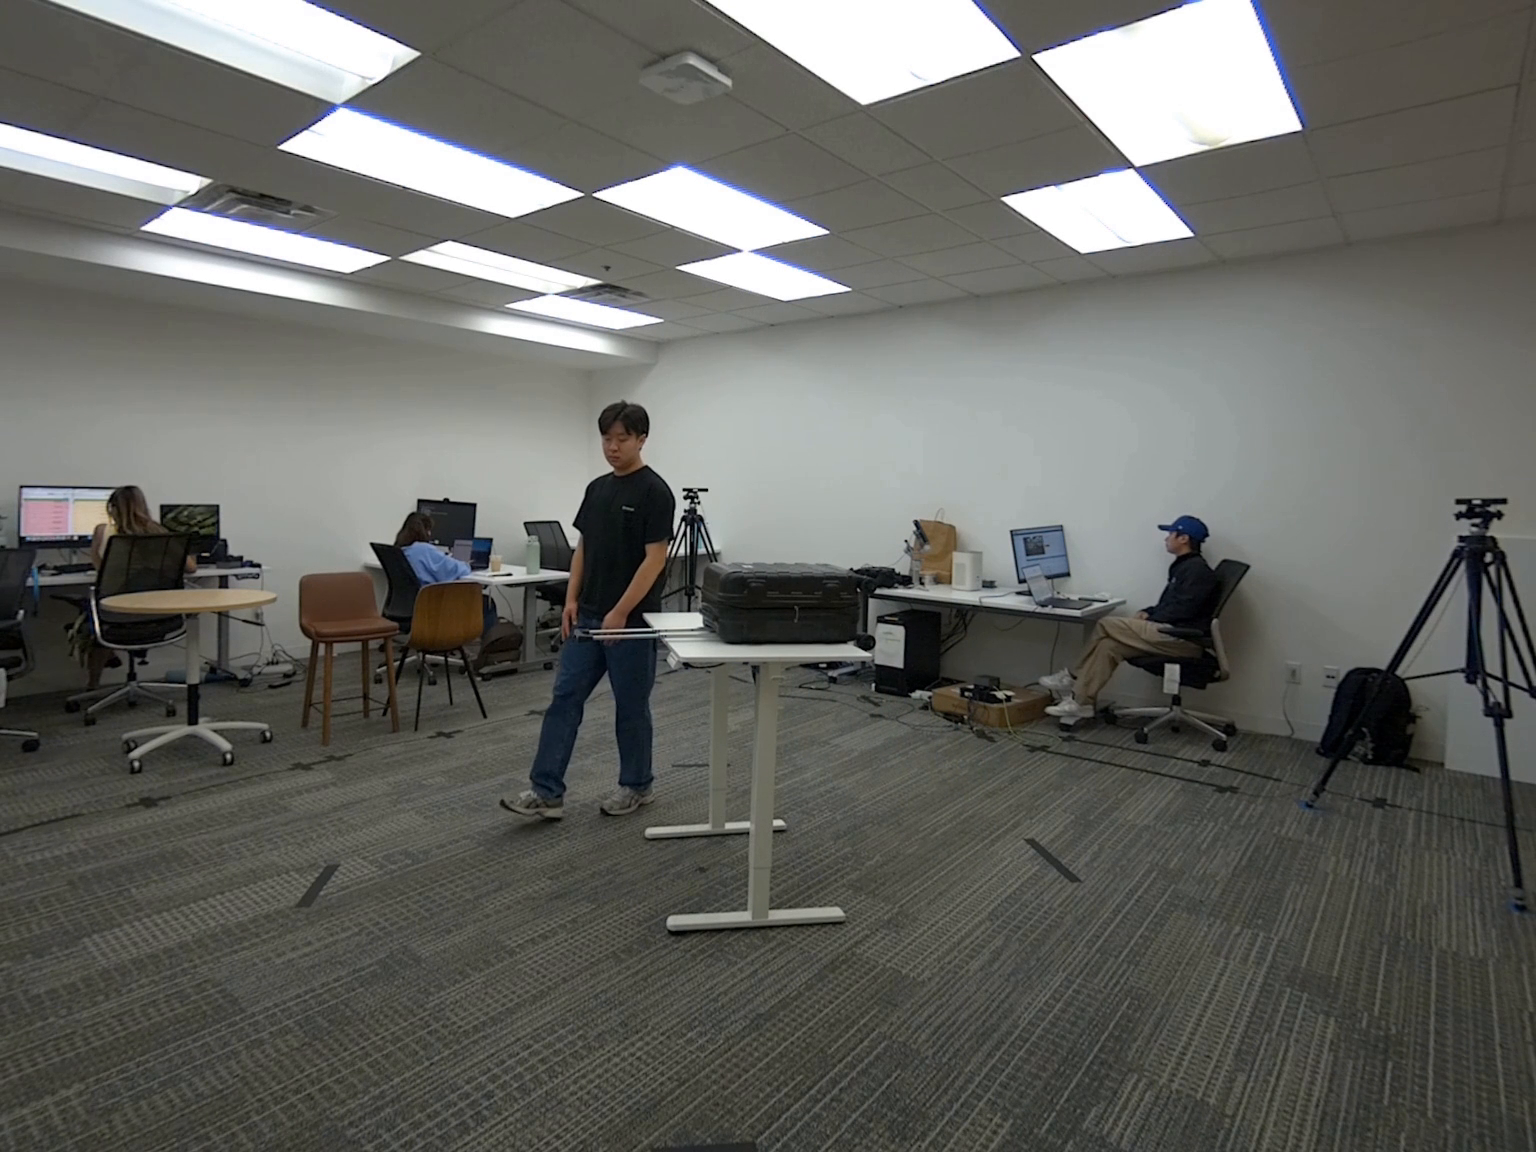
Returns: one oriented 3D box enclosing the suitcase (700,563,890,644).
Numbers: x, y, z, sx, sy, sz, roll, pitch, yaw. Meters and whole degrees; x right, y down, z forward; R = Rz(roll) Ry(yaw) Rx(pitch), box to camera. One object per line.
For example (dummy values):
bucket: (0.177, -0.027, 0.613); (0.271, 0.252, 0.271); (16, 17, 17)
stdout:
suitcase: (-0.152, 0.084, 2.885); (0.962, 0.256, 0.392); (2, 5, -15)
